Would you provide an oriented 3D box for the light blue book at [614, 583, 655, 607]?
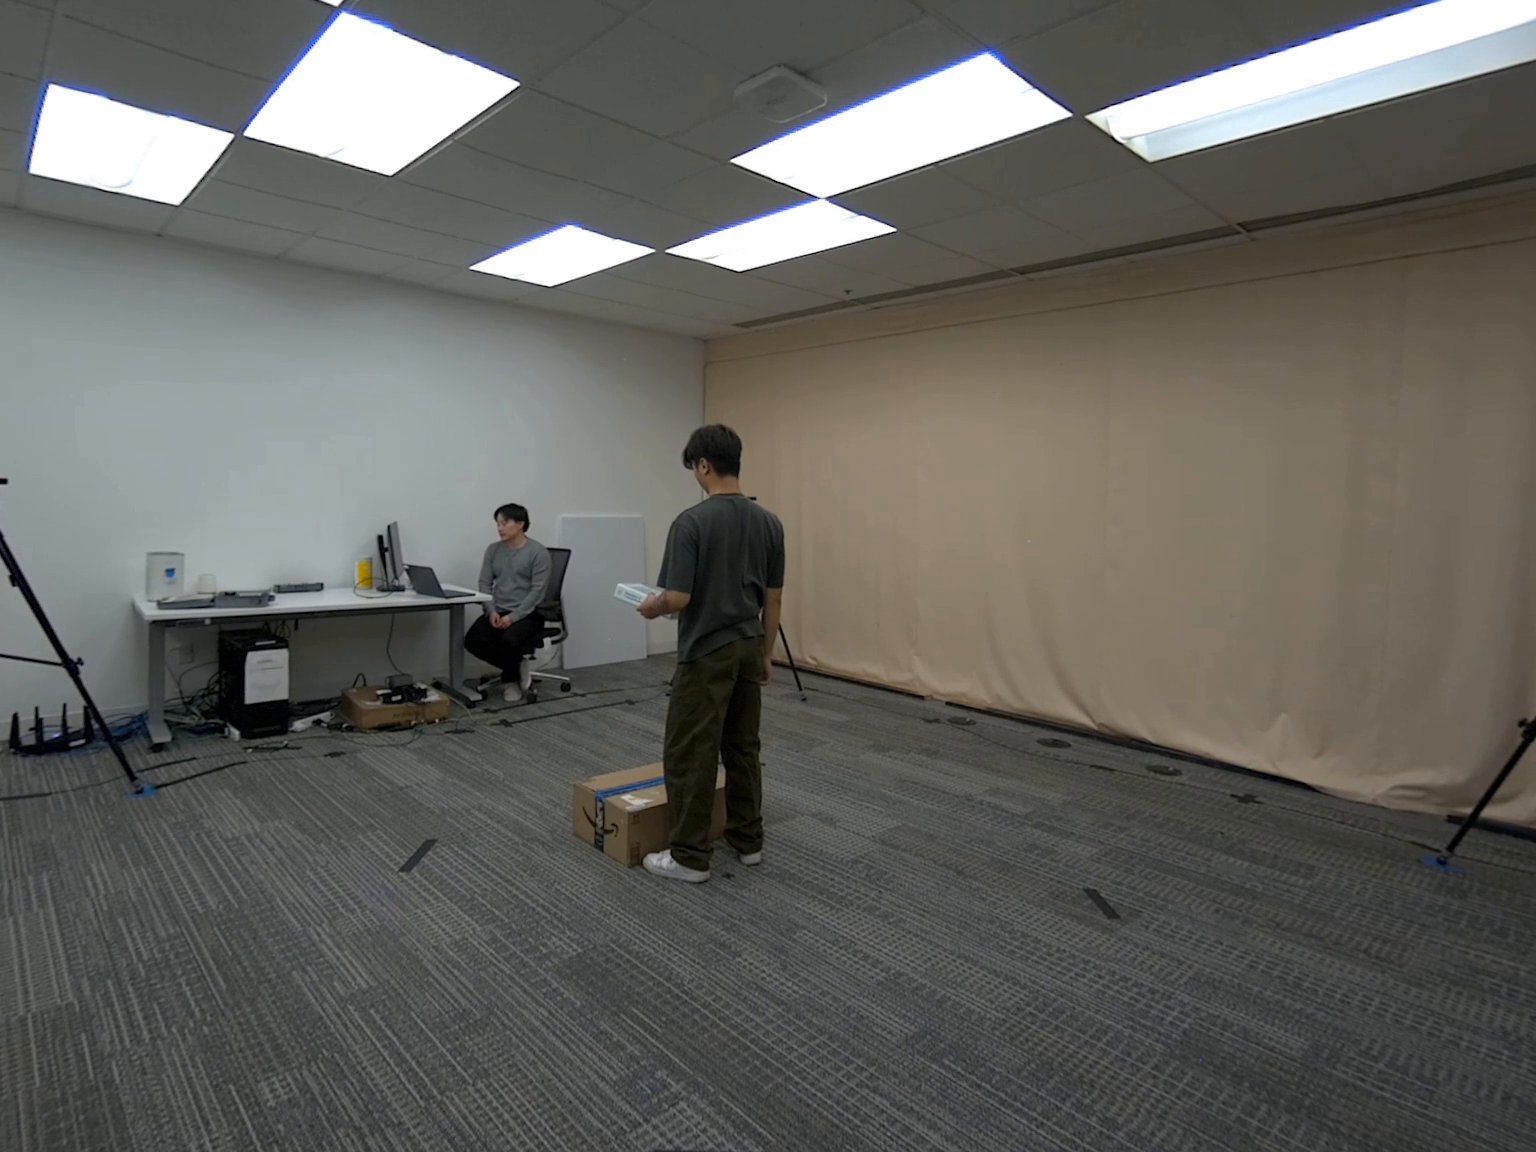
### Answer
[{"bbox_3d":[-0.455,0.101,3.350,0.266,0.059,0.188,18,5,18],"label":"light blue book"}]
